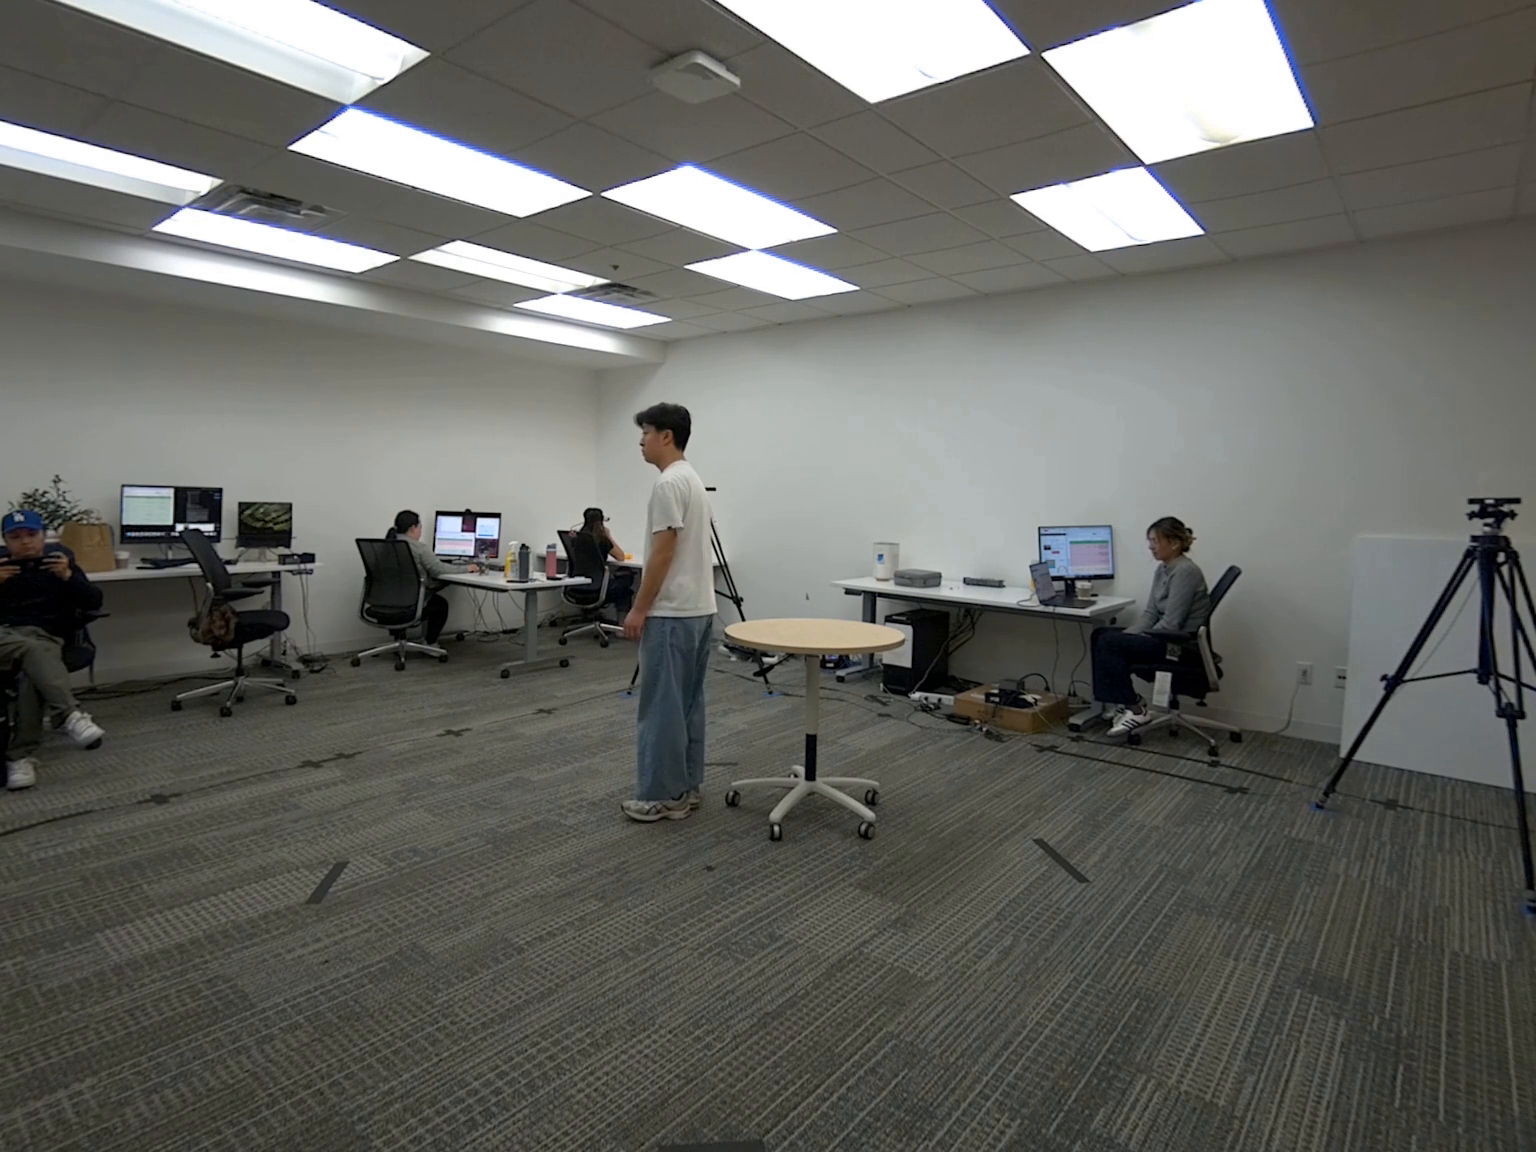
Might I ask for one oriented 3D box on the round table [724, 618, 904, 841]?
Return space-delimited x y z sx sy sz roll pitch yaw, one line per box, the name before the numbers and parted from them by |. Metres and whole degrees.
round table | 0.174 0.630 3.663 0.763 0.791 0.768 1 4 -2
